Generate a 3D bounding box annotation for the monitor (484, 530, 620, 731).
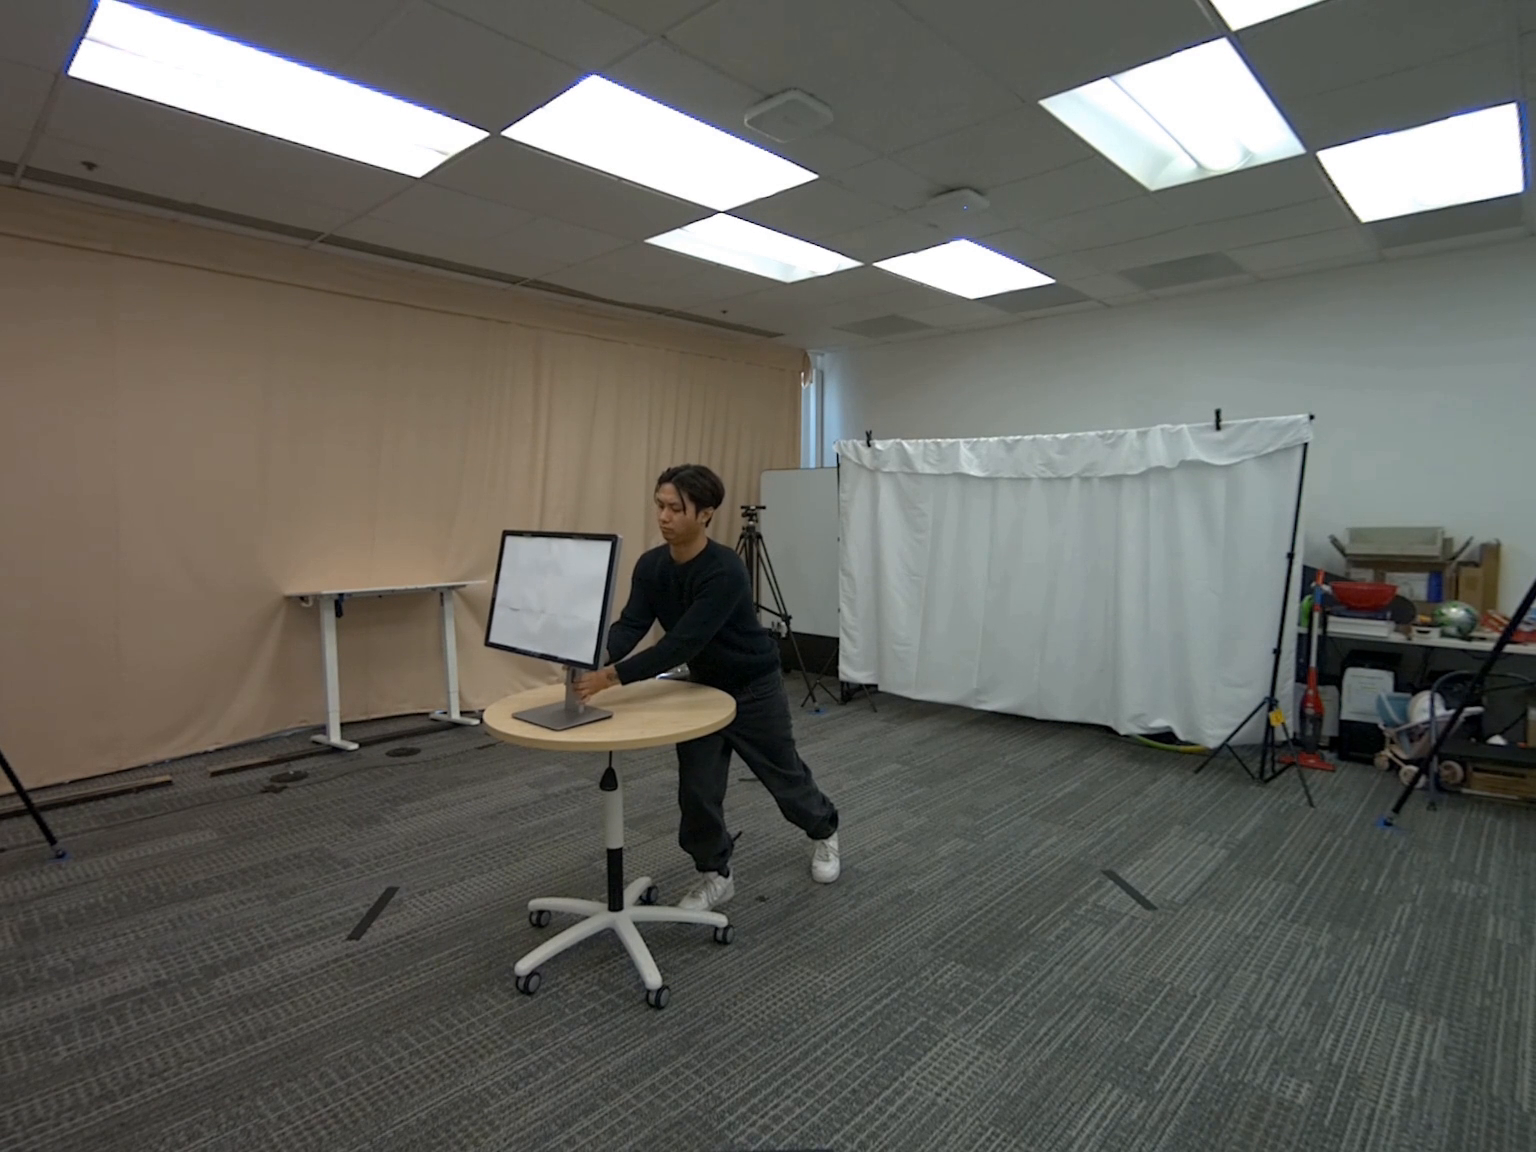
[{"bbox_3d":[-0.608,0.142,2.435,0.548,0.513,0.170,6,11,41],"label":"monitor"}]
